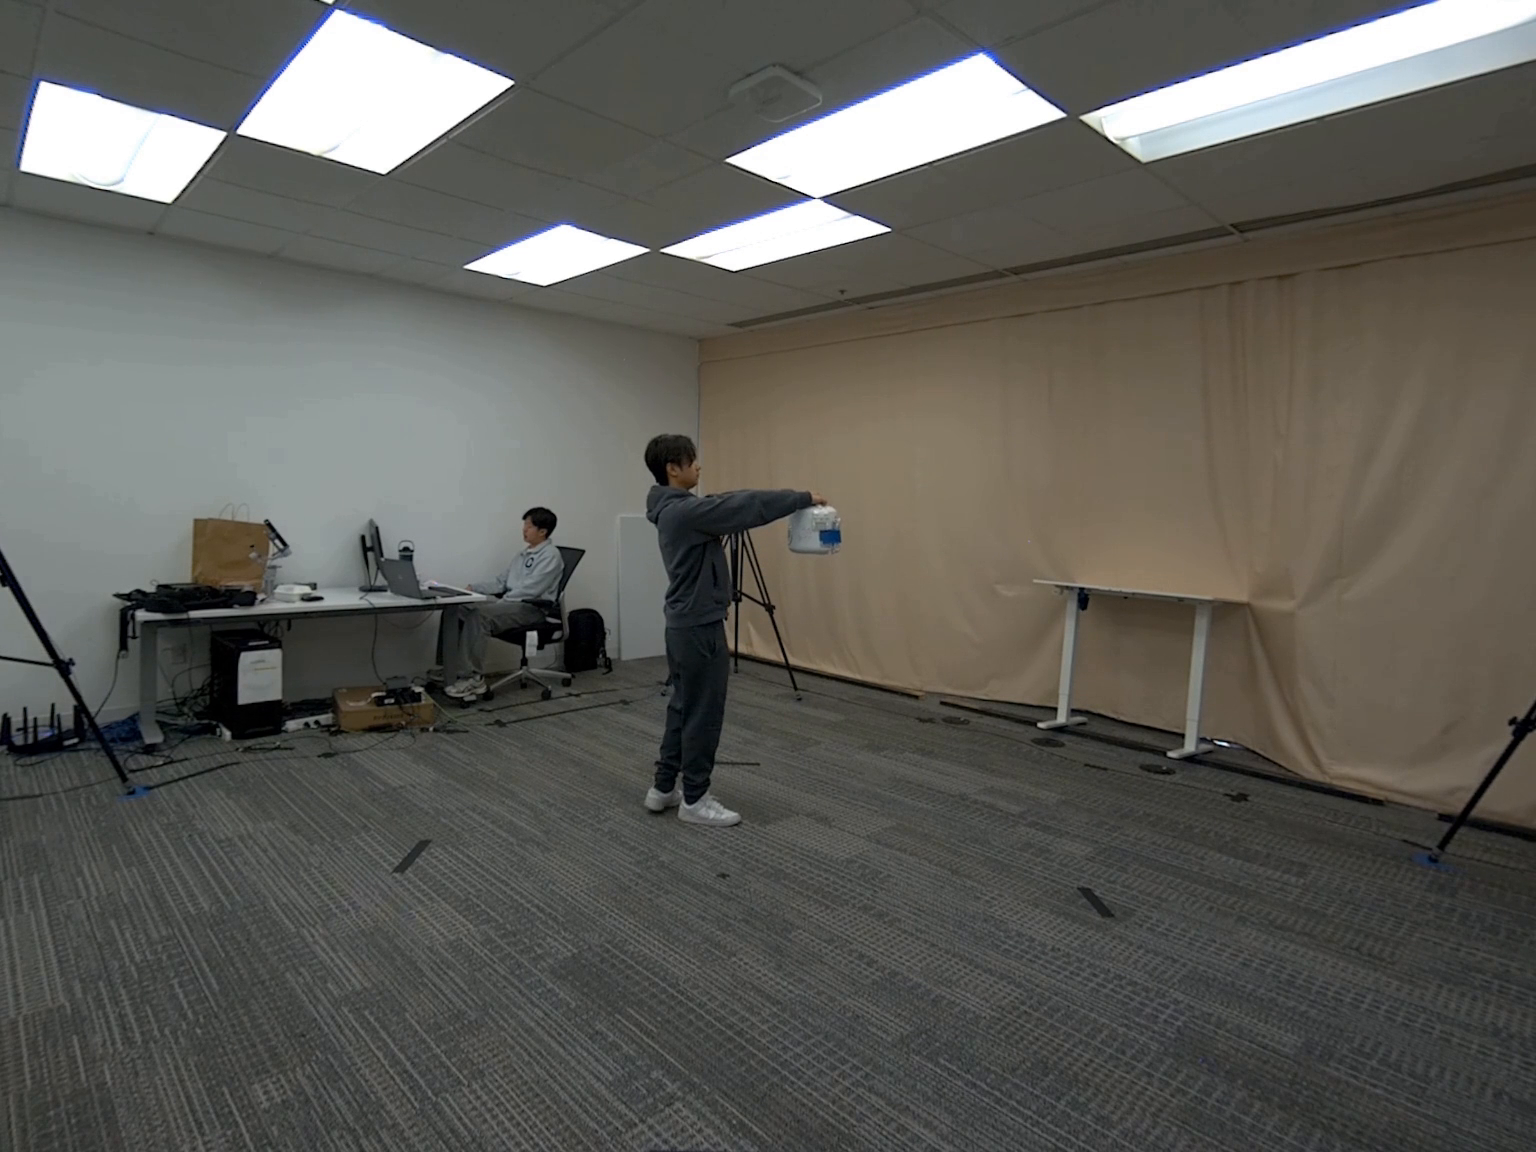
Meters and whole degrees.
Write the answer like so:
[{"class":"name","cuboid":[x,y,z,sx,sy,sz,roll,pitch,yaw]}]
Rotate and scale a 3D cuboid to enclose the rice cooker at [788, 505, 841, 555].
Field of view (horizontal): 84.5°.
[{"class":"rice cooker","cuboid":[0.185,-0.217,3.683,0.215,0.232,0.223,1,3,-13]}]
